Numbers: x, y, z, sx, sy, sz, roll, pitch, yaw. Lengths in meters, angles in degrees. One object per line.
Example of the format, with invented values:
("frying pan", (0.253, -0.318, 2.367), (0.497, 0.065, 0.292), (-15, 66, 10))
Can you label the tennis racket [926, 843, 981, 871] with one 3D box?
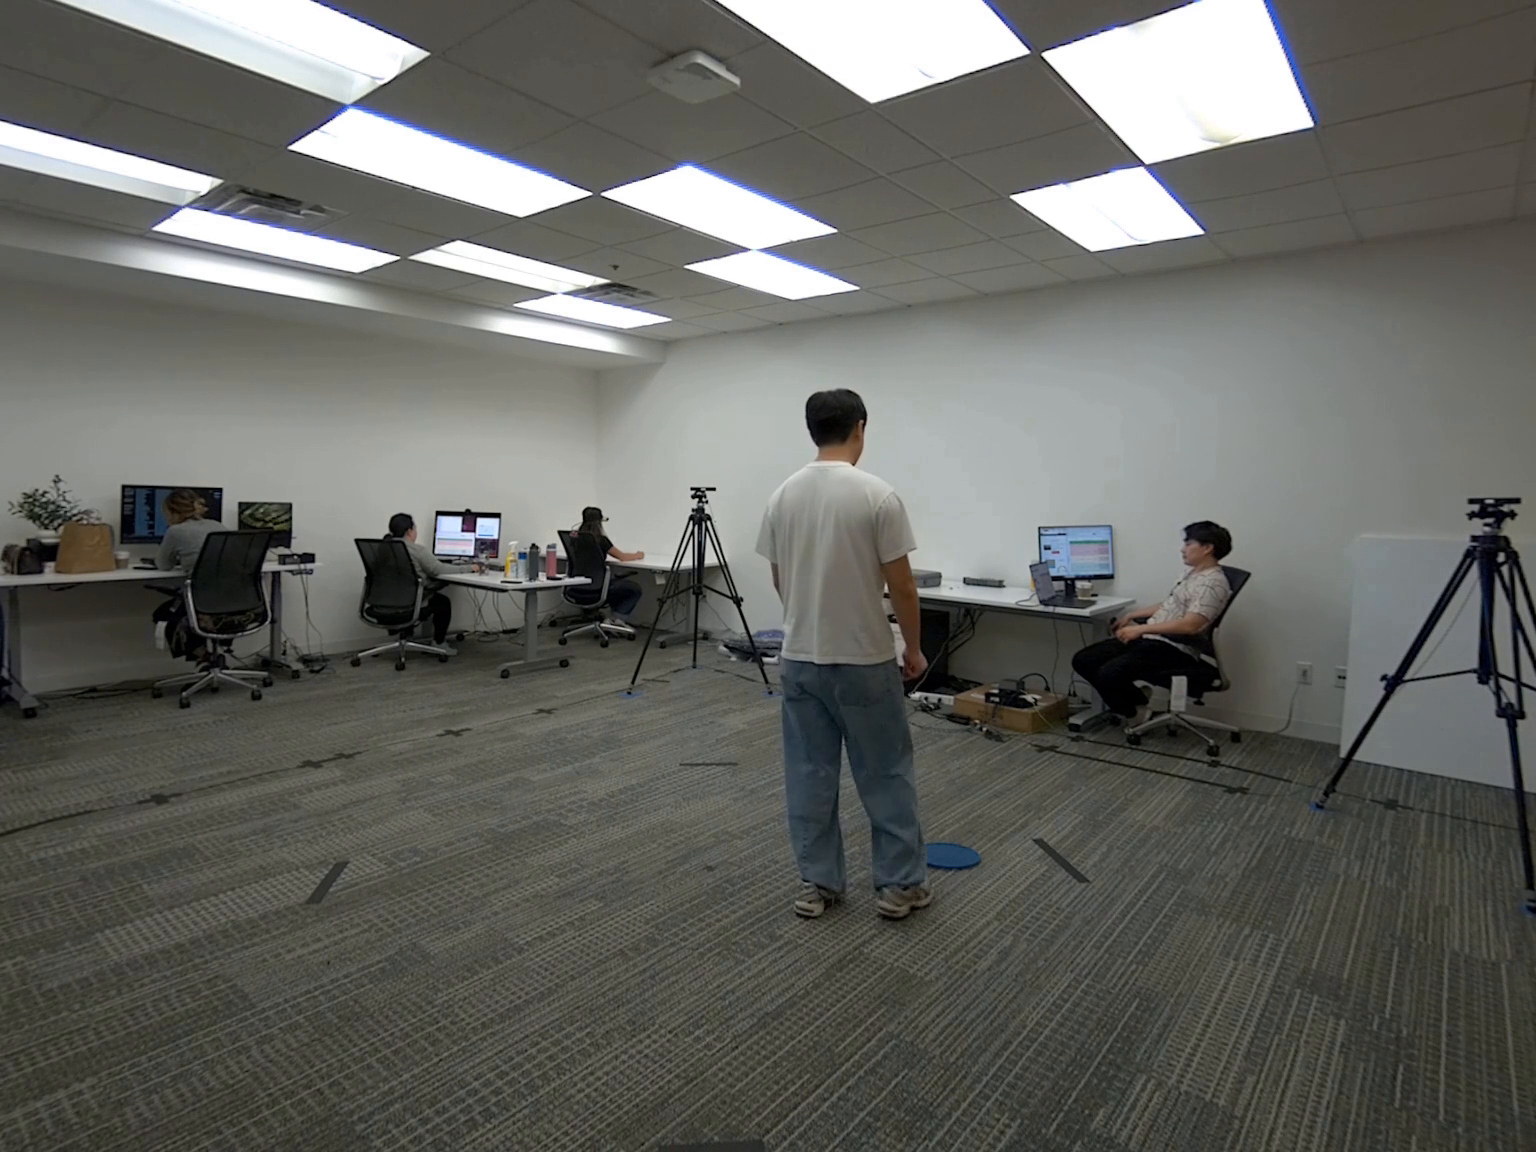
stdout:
("tennis racket", (0.604, 1.058, 3.221), (0.423, 0.031, 0.219), (1, 5, -23))
